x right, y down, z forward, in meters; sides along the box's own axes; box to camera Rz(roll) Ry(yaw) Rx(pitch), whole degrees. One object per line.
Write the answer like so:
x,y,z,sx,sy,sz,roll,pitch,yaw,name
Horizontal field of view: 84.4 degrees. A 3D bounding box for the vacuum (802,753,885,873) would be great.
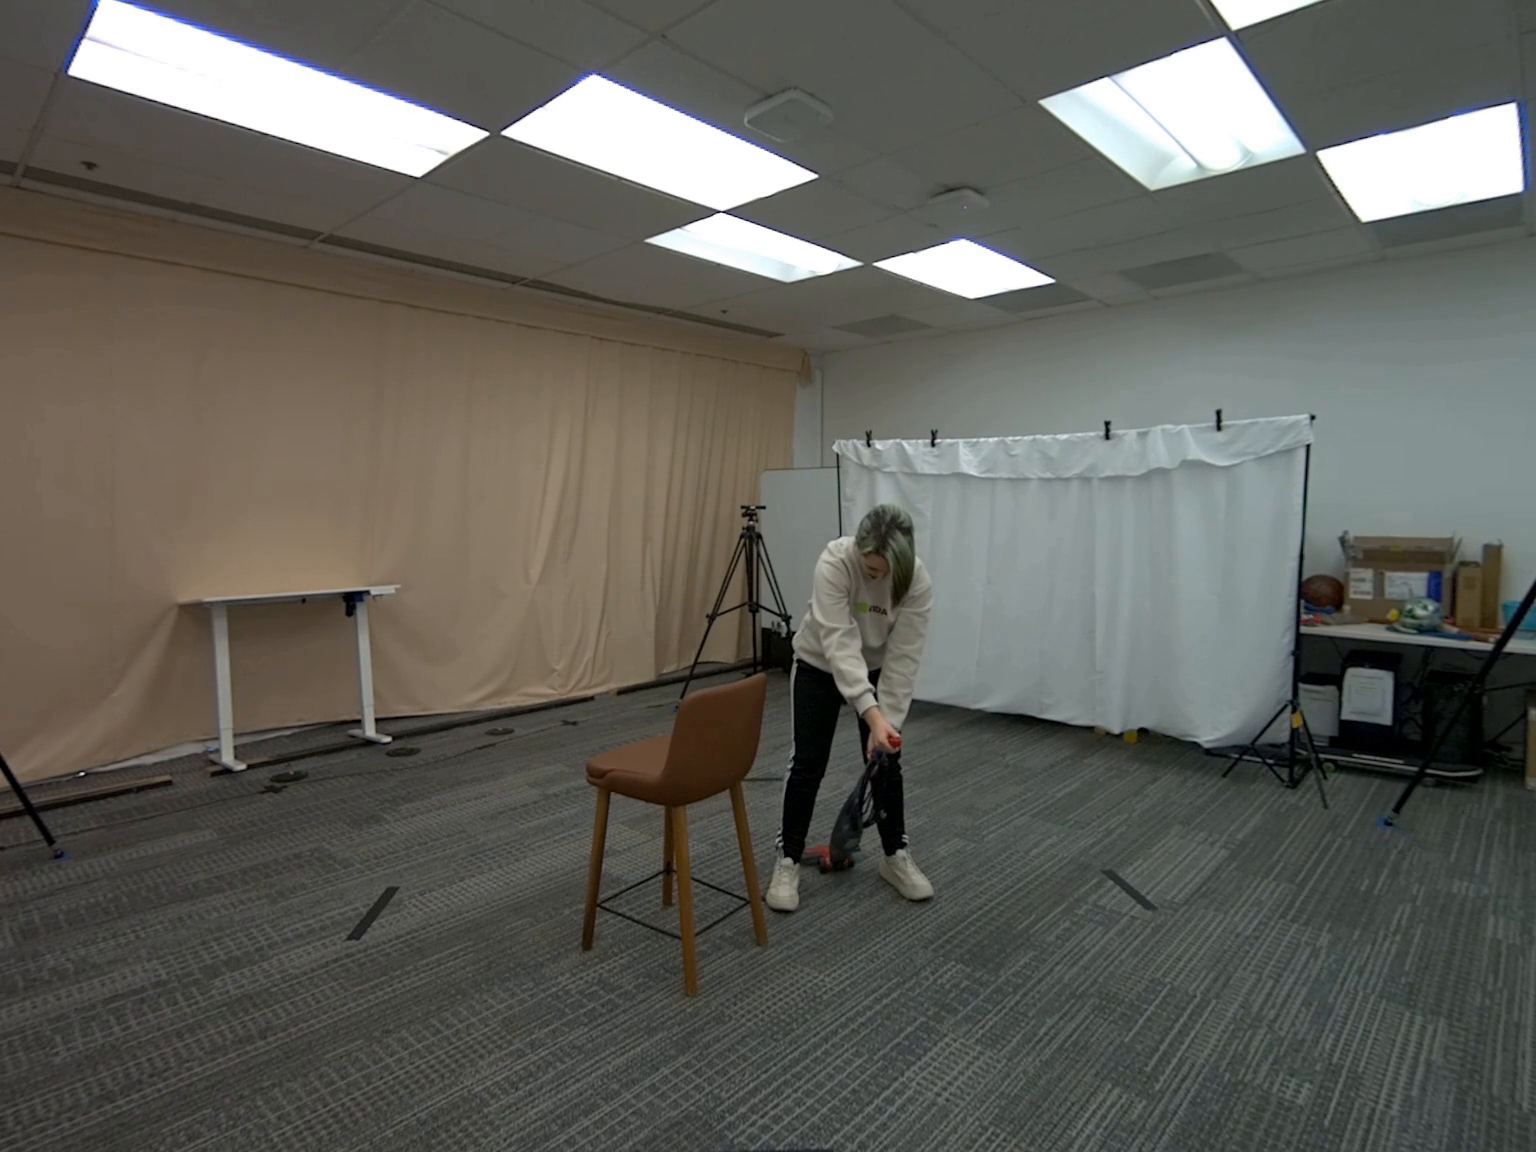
0.309,0.782,2.842,0.249,0.147,1.036,-7,-35,-14,vacuum
